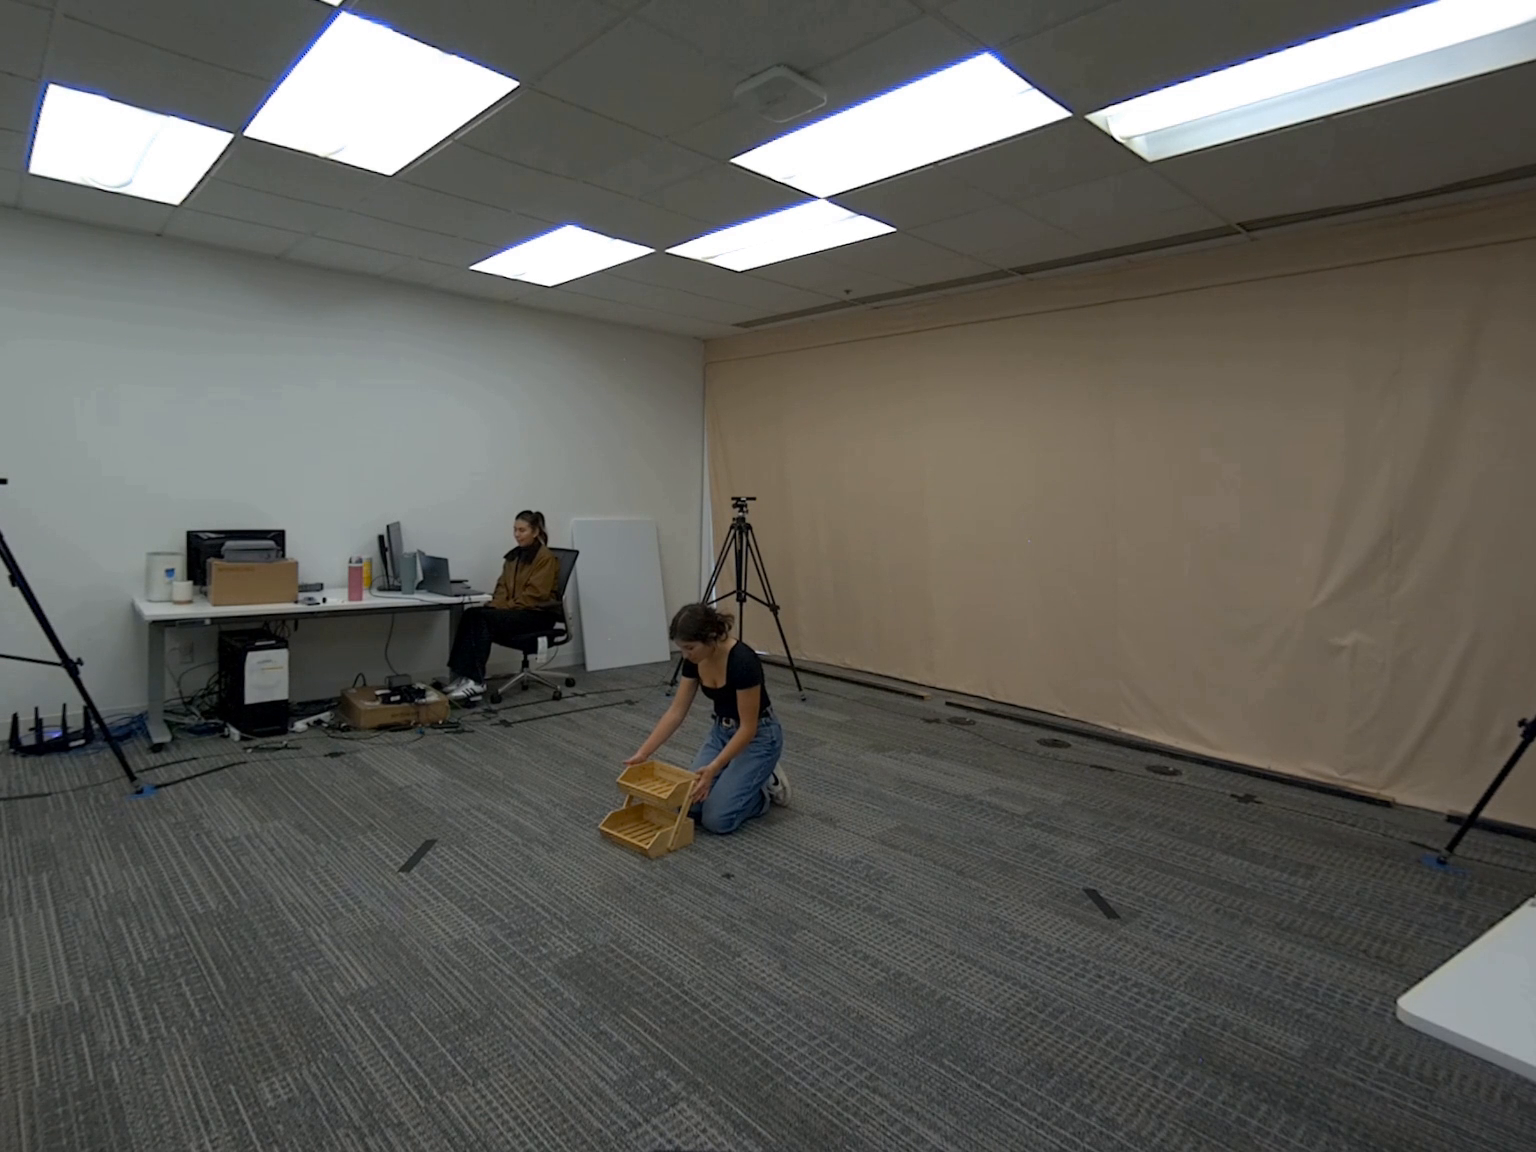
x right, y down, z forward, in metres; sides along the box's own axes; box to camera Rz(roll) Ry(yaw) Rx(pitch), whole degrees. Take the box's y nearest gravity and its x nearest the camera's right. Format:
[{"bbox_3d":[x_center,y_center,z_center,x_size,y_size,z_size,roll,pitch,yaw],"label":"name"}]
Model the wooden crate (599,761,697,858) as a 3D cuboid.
[{"bbox_3d":[-0.487,0.939,3.420,0.333,0.273,0.295,5,5,41],"label":"wooden crate"}]
